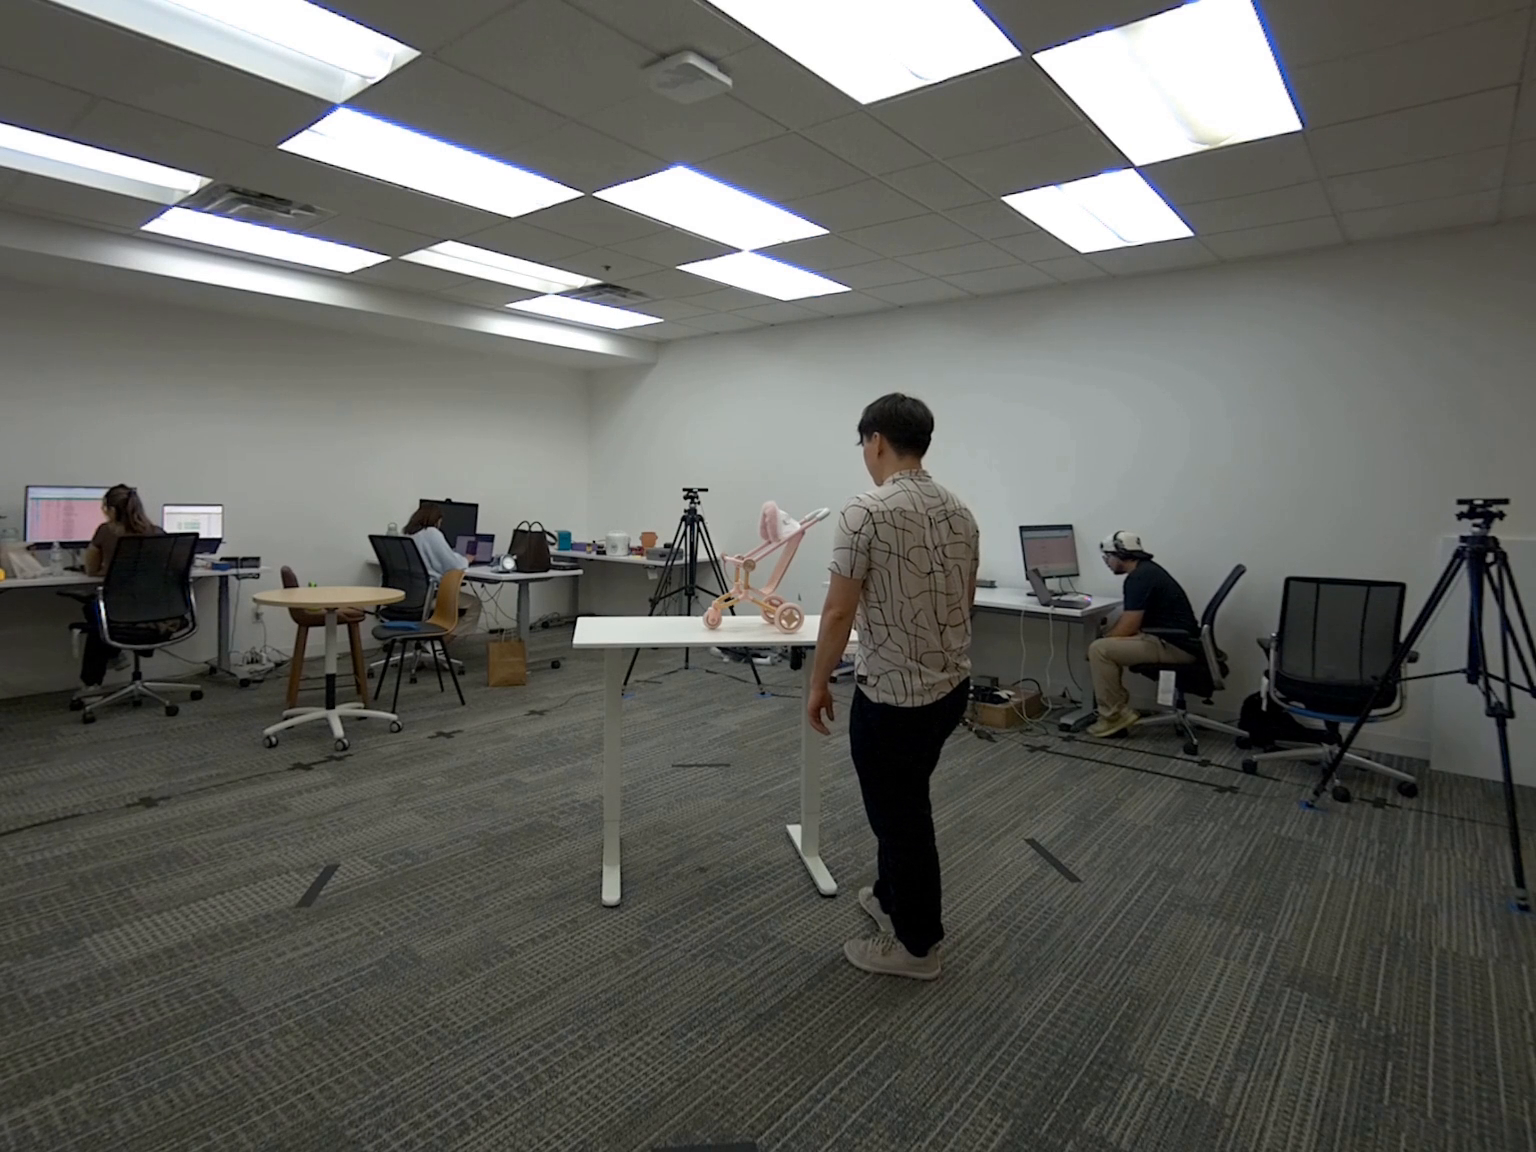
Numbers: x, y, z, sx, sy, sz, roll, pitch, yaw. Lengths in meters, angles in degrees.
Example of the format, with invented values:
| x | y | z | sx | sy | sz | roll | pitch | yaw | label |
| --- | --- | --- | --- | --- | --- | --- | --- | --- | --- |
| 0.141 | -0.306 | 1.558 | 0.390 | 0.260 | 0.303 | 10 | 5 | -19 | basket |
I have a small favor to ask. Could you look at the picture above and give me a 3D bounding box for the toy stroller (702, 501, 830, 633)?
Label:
| x | y | z | sx | sy | sz | roll | pitch | yaw | label |
| --- | --- | --- | --- | --- | --- | --- | --- | --- | --- |
| -0.026 | -0.034 | 3.098 | 0.339 | 0.534 | 0.283 | 15 | 1 | -5 | toy stroller |
